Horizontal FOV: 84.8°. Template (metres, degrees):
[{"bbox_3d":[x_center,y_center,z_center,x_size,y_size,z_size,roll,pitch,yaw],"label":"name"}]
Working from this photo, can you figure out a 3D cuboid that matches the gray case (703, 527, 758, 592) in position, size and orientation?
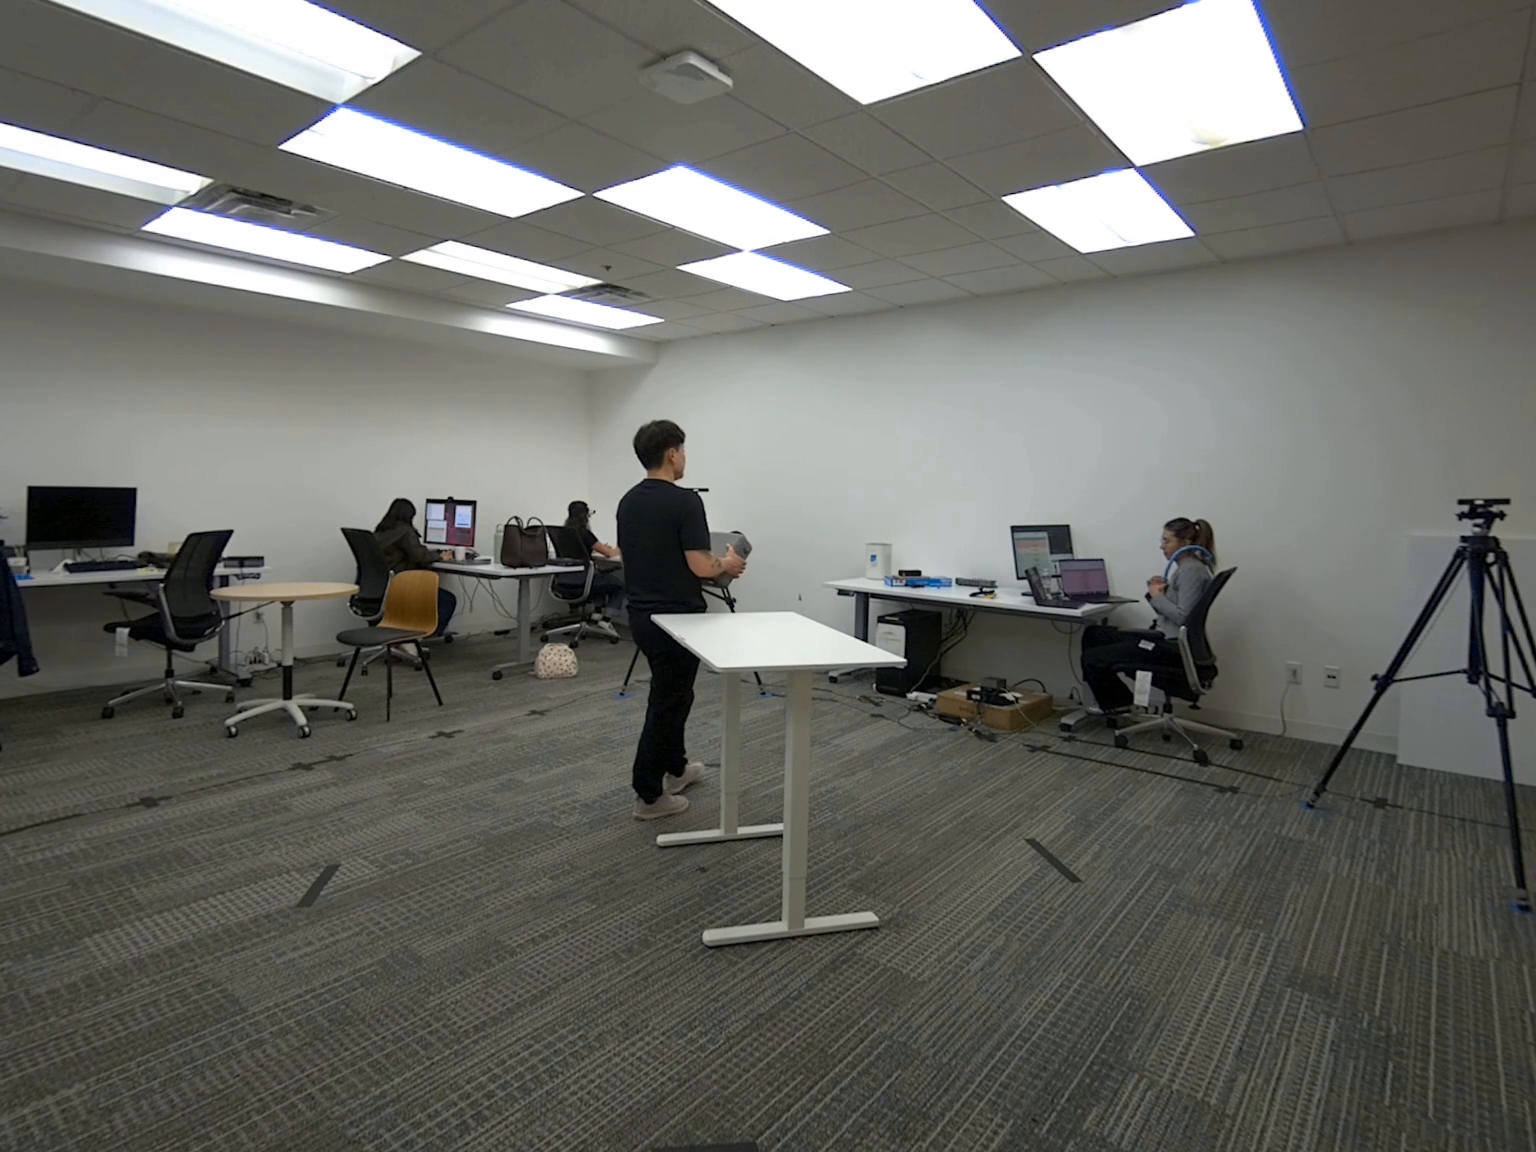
[{"bbox_3d":[-0.233,-0.081,3.781,0.266,0.261,0.100,7,-34,48],"label":"gray case"}]
